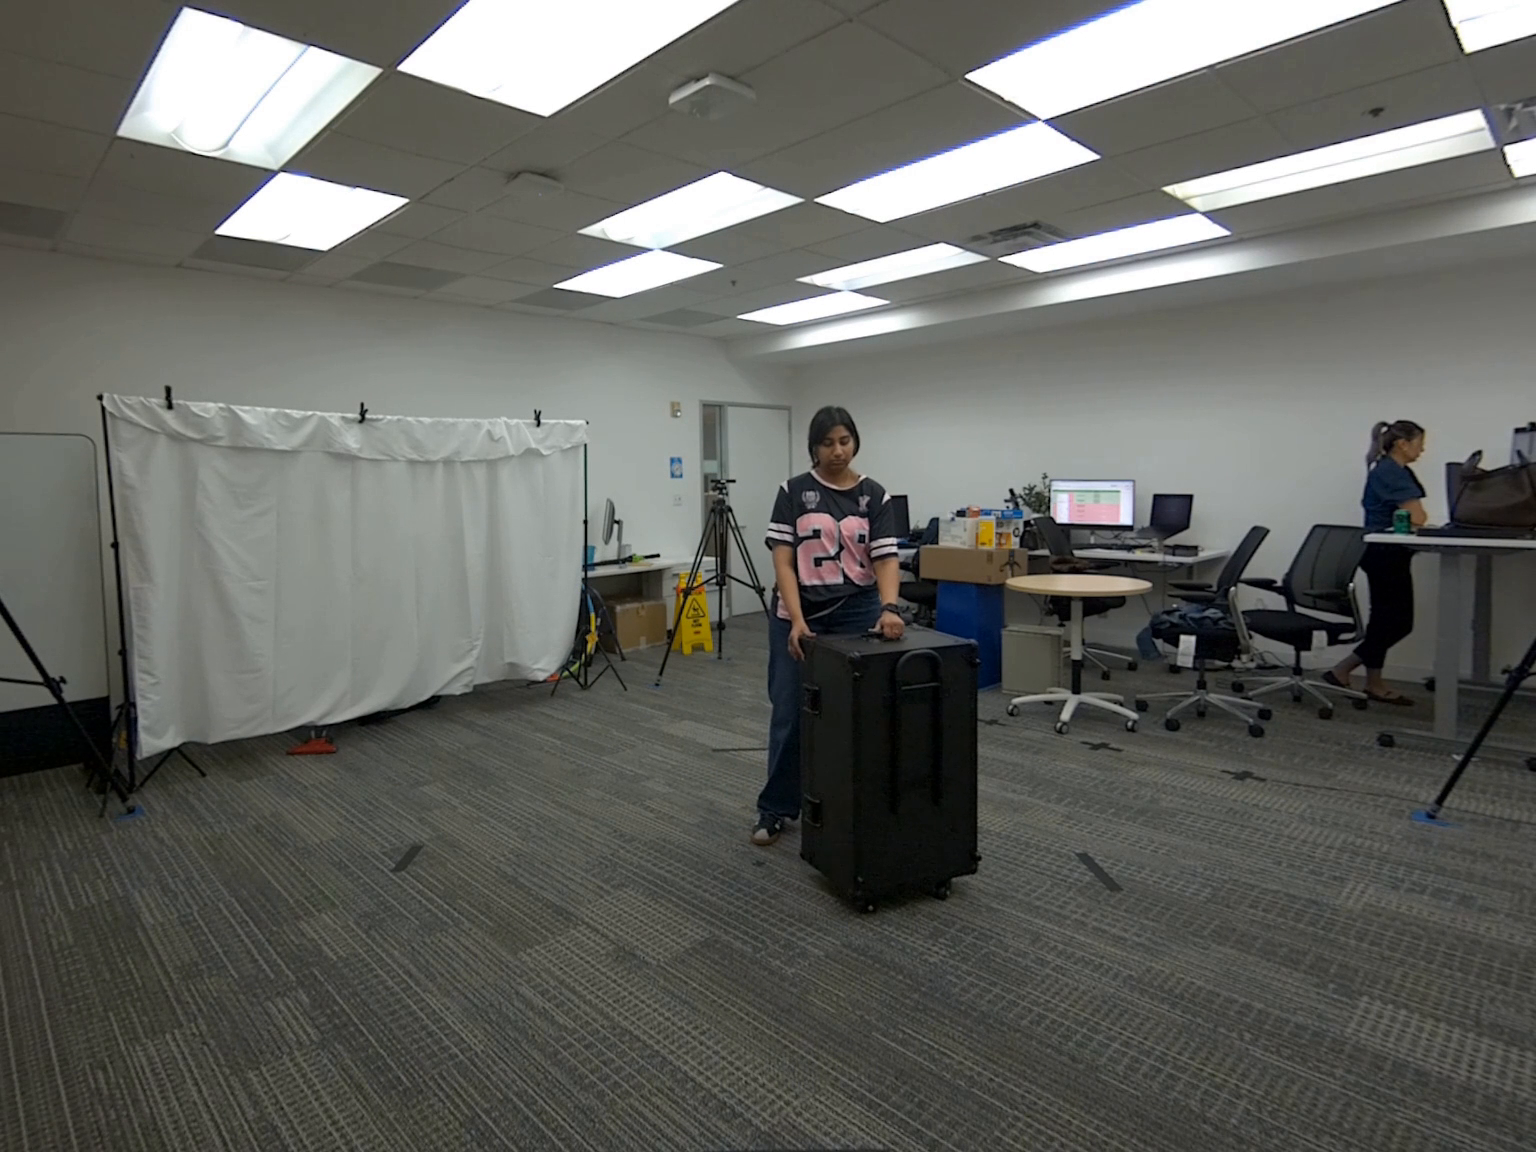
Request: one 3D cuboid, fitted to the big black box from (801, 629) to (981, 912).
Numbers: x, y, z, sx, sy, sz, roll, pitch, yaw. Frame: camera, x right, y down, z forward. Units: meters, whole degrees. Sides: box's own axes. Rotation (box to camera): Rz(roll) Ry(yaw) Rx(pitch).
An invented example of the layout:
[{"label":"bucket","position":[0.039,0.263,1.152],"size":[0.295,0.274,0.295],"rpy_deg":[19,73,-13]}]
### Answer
[{"label":"big black box","position":[0.412,0.638,2.900],"size":[0.513,0.865,0.394],"rpy_deg":[-3,4,-23]}]
